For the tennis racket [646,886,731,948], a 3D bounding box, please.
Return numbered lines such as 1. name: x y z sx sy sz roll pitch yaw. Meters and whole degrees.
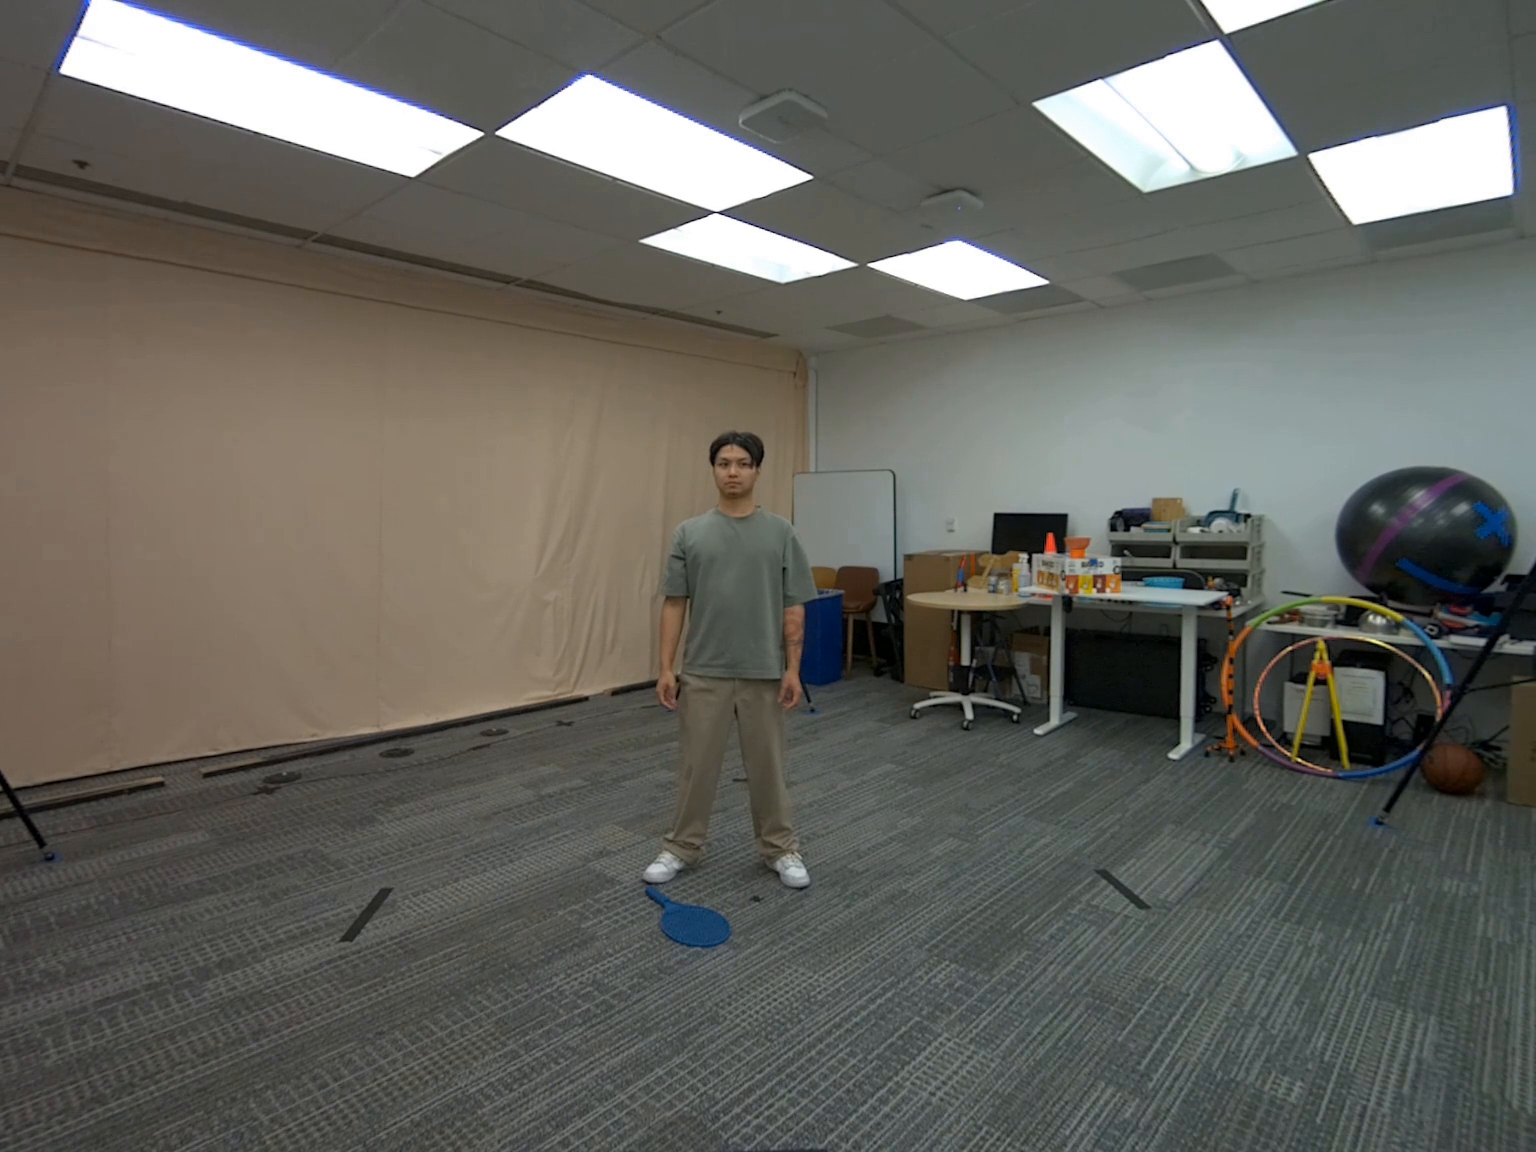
1. tennis racket: -0.282 1.144 2.850 0.207 0.031 0.447 -4 7 -35
